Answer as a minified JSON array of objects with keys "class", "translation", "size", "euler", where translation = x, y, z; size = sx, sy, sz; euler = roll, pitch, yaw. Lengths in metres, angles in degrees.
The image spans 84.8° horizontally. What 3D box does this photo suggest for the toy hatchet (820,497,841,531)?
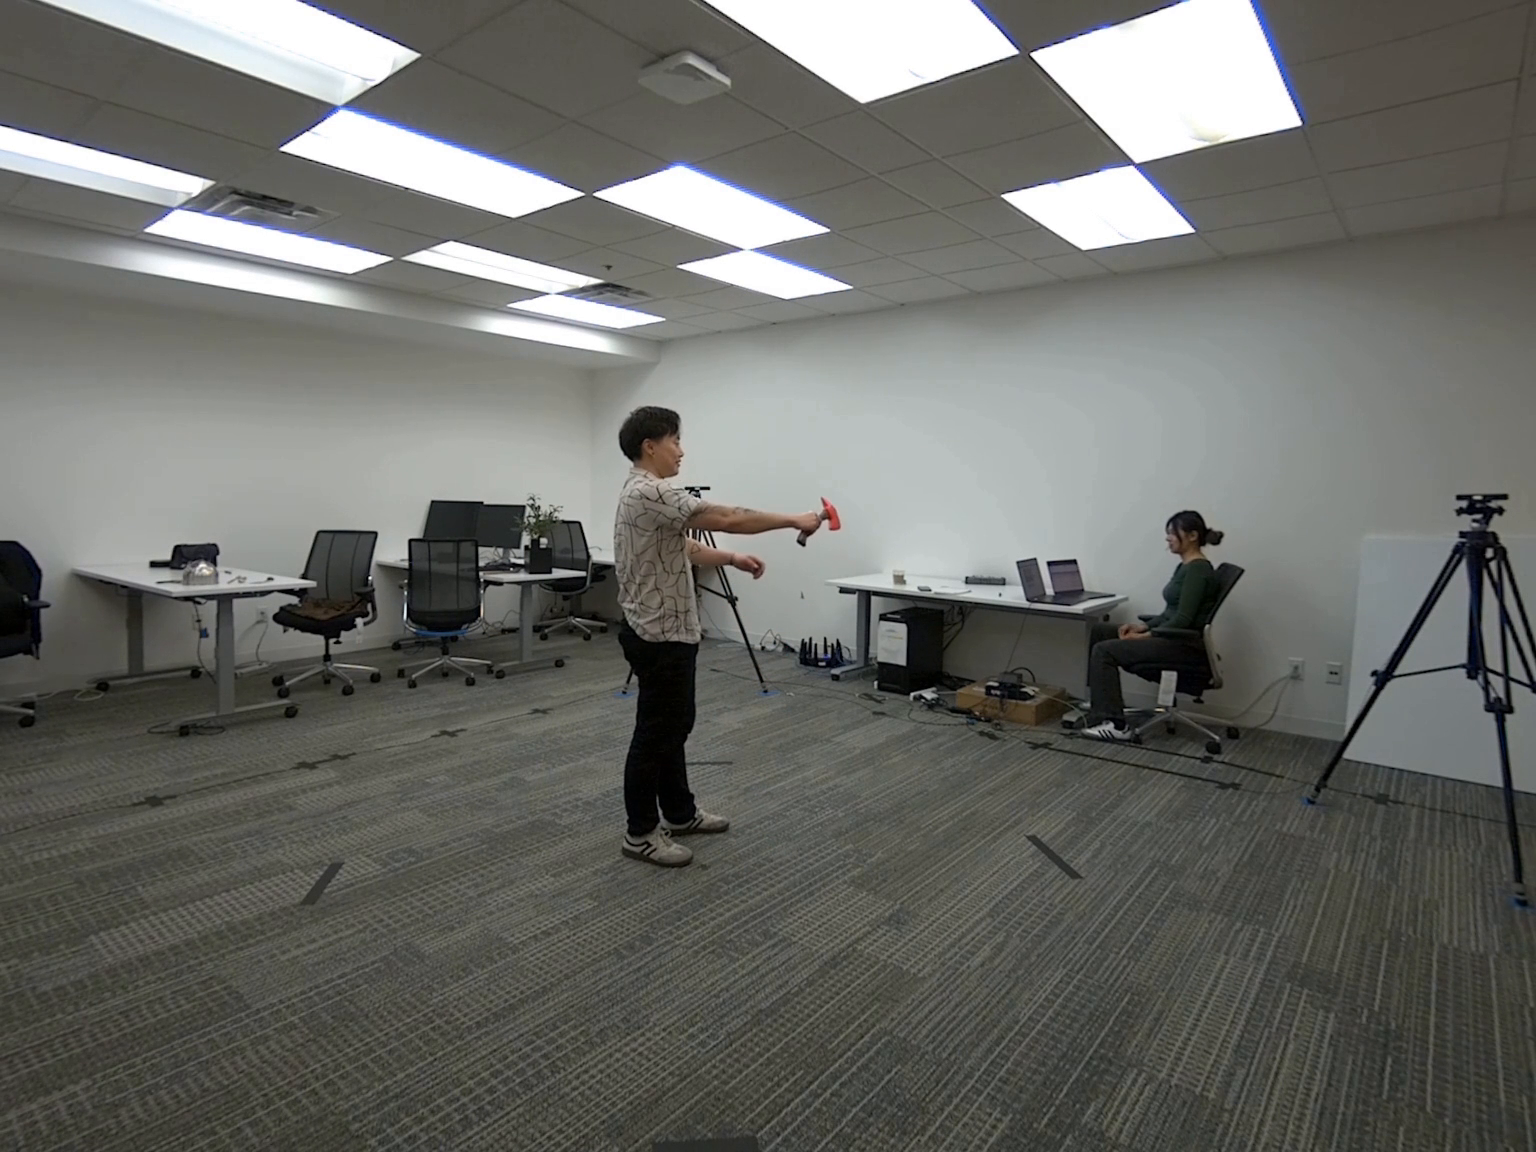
[{"class":"toy hatchet","translation":[0.176,-0.162,3.039],"size":[0.030,0.128,0.271],"euler":[-26,21,46]}]
